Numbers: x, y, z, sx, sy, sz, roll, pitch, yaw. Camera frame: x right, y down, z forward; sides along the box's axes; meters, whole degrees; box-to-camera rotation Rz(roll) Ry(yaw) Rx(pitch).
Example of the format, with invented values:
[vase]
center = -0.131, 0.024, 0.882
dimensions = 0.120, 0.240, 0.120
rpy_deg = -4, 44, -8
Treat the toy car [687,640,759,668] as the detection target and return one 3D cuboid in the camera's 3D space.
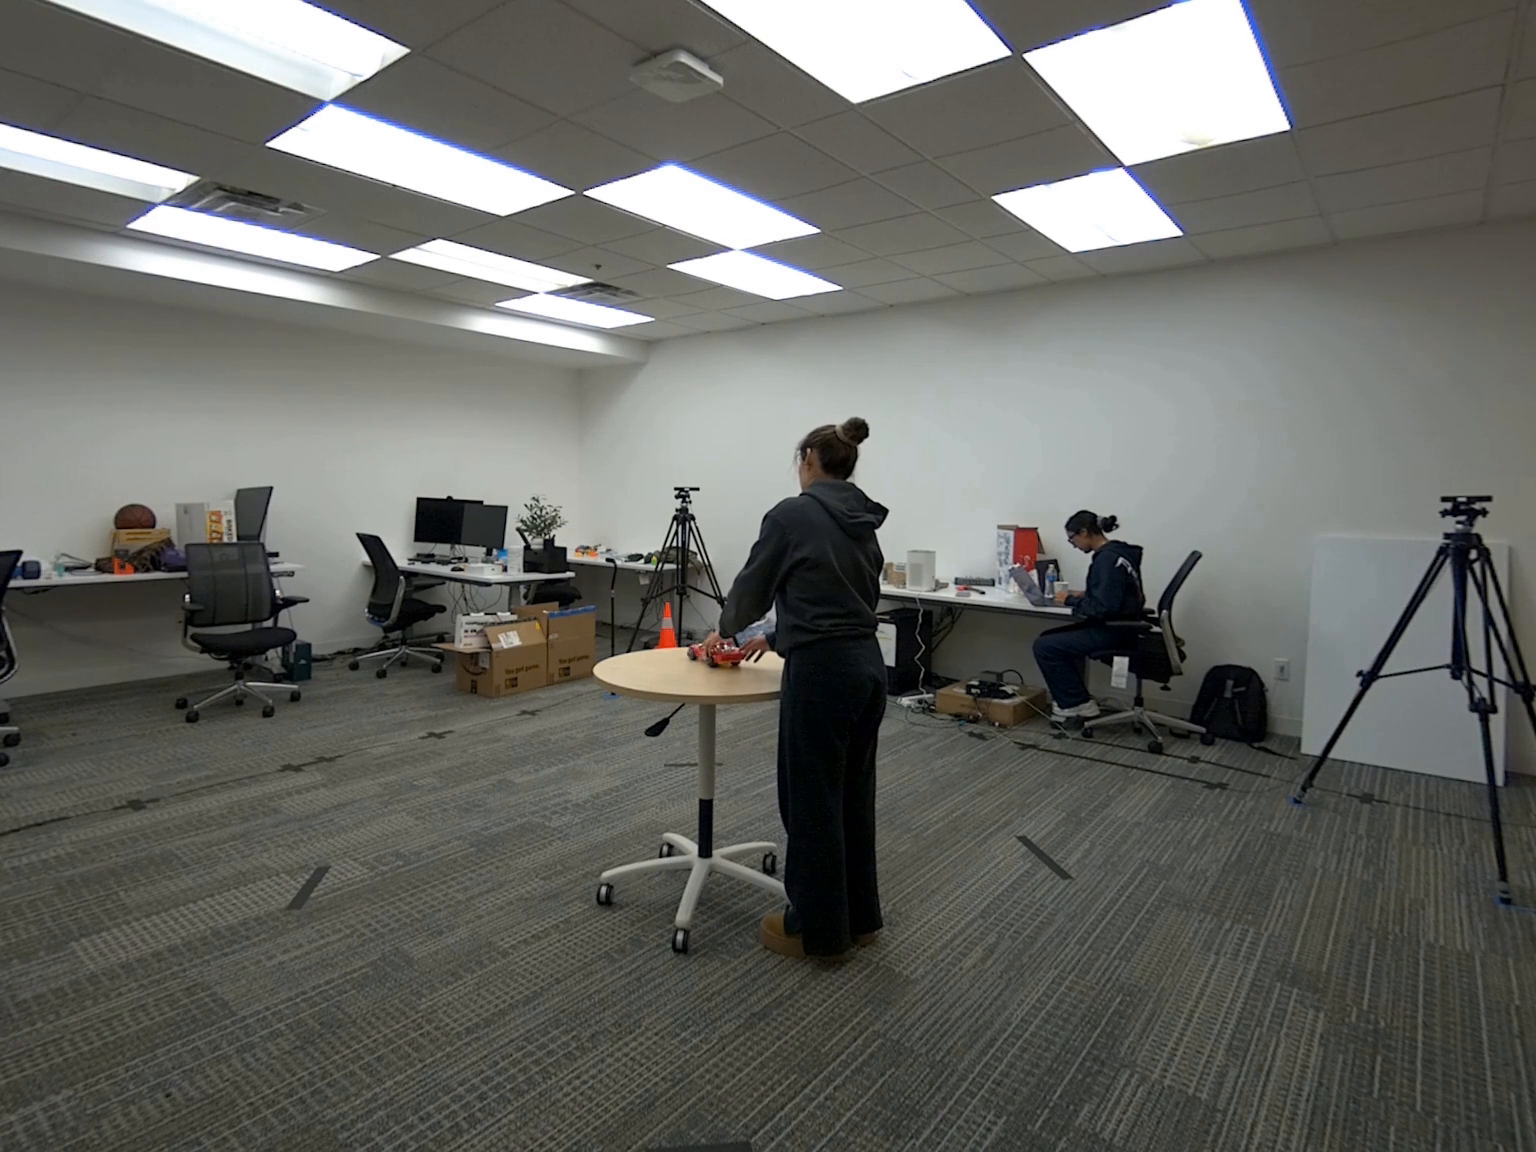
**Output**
[toy car]
center = -0.179, 0.269, 2.943
dimensions = 0.127, 0.083, 0.260
rpy_deg = -3, -3, -30
